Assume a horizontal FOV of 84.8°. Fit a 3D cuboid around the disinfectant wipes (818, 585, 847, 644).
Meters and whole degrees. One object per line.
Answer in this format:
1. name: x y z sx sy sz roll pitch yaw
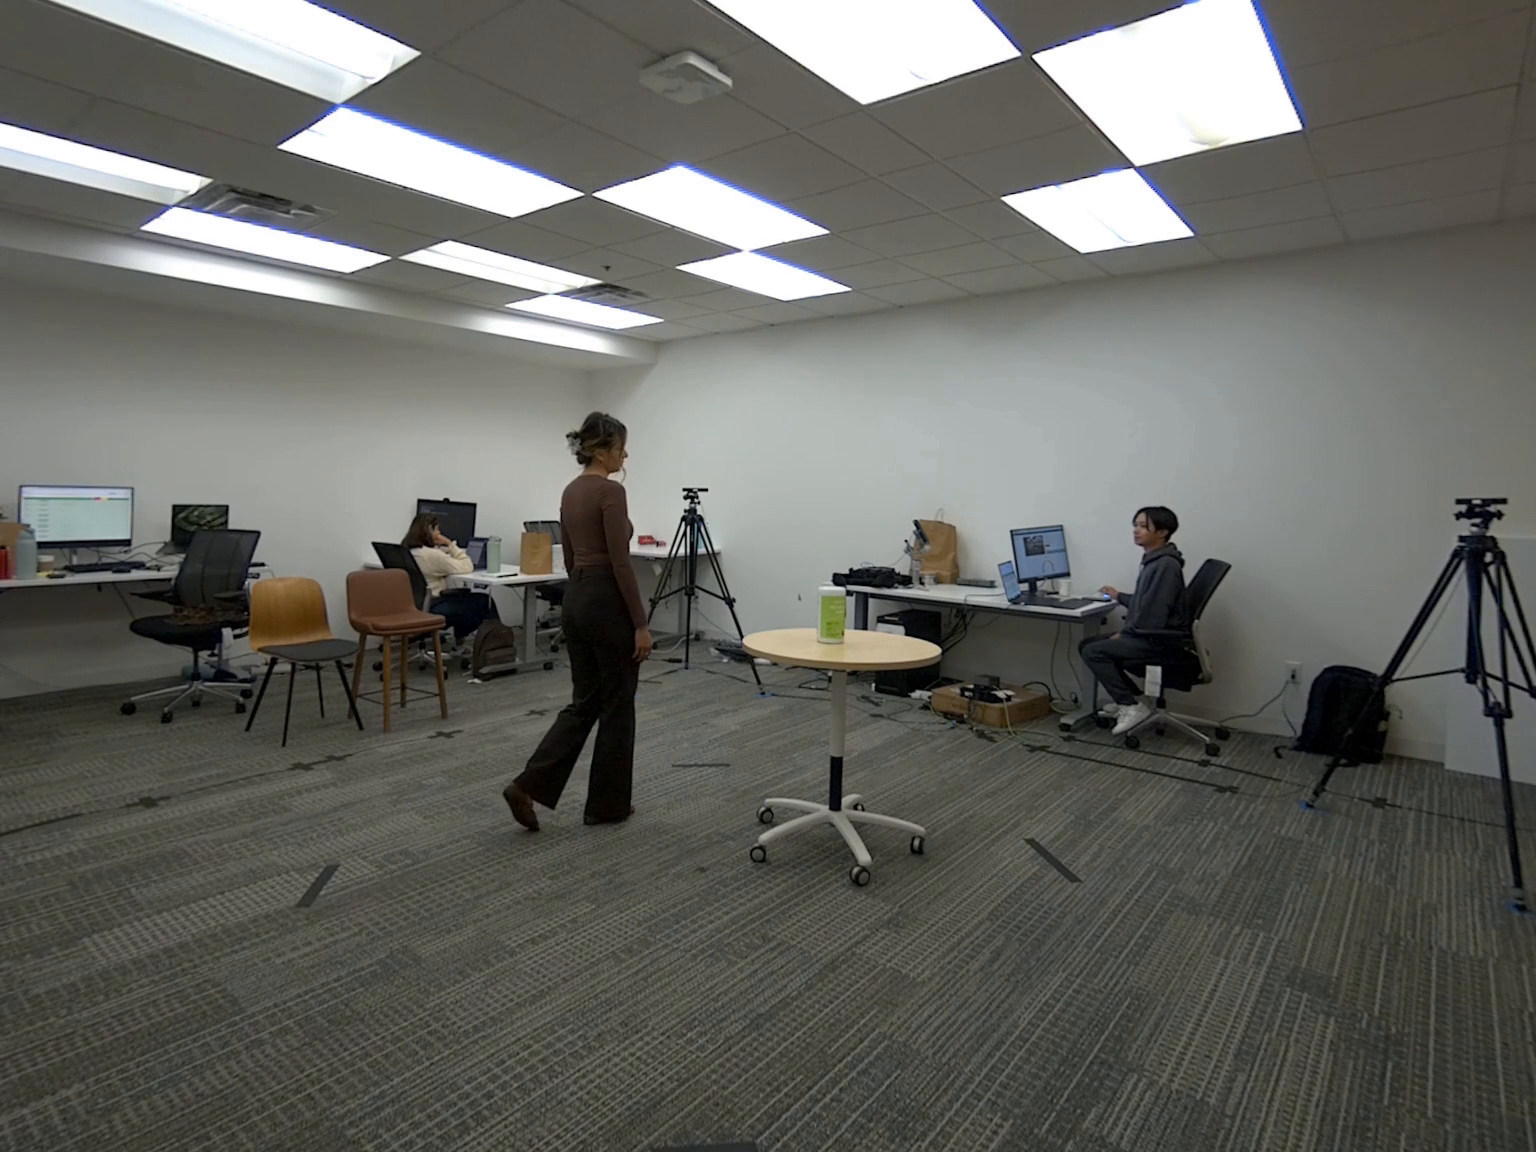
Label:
1. disinfectant wipes: 0.241 0.151 3.361 0.117 0.217 0.118 2 4 -2
